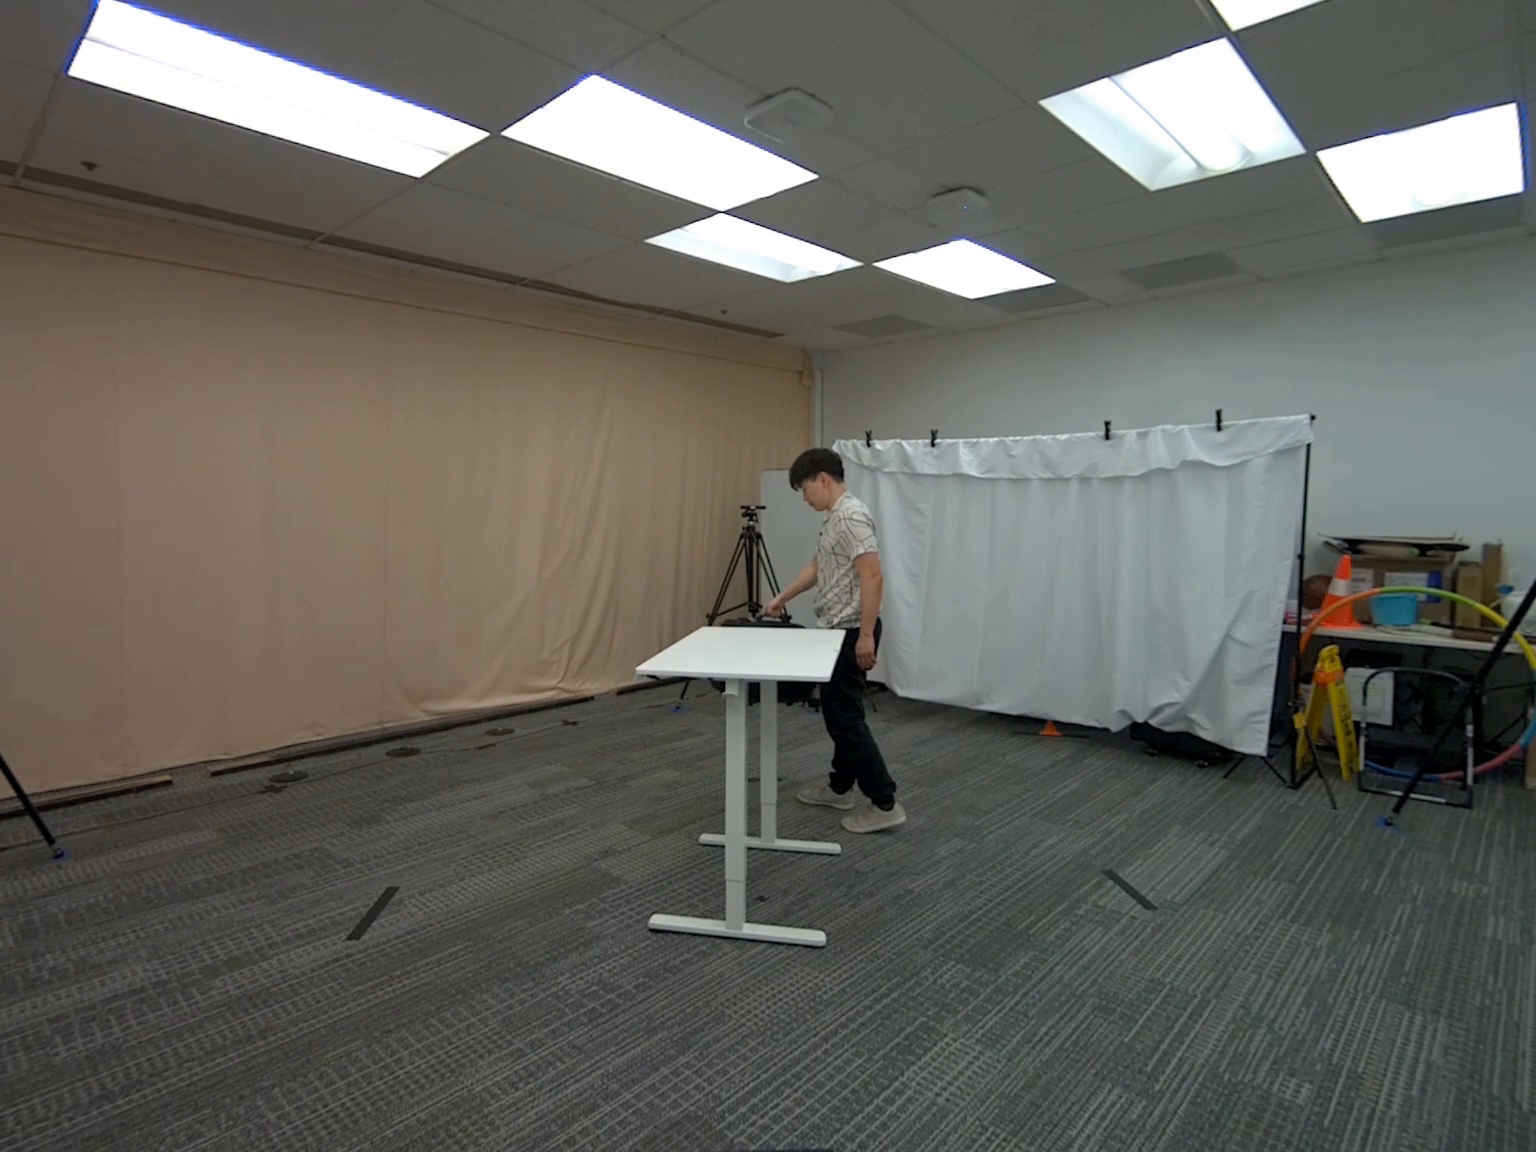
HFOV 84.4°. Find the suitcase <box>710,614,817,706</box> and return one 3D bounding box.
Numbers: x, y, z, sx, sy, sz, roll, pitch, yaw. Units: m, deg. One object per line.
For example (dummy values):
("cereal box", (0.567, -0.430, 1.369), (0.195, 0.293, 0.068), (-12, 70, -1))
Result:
("suitcase", (0.009, 0.398, 3.959), (0.531, 0.375, 0.257), (8, 6, -40))
